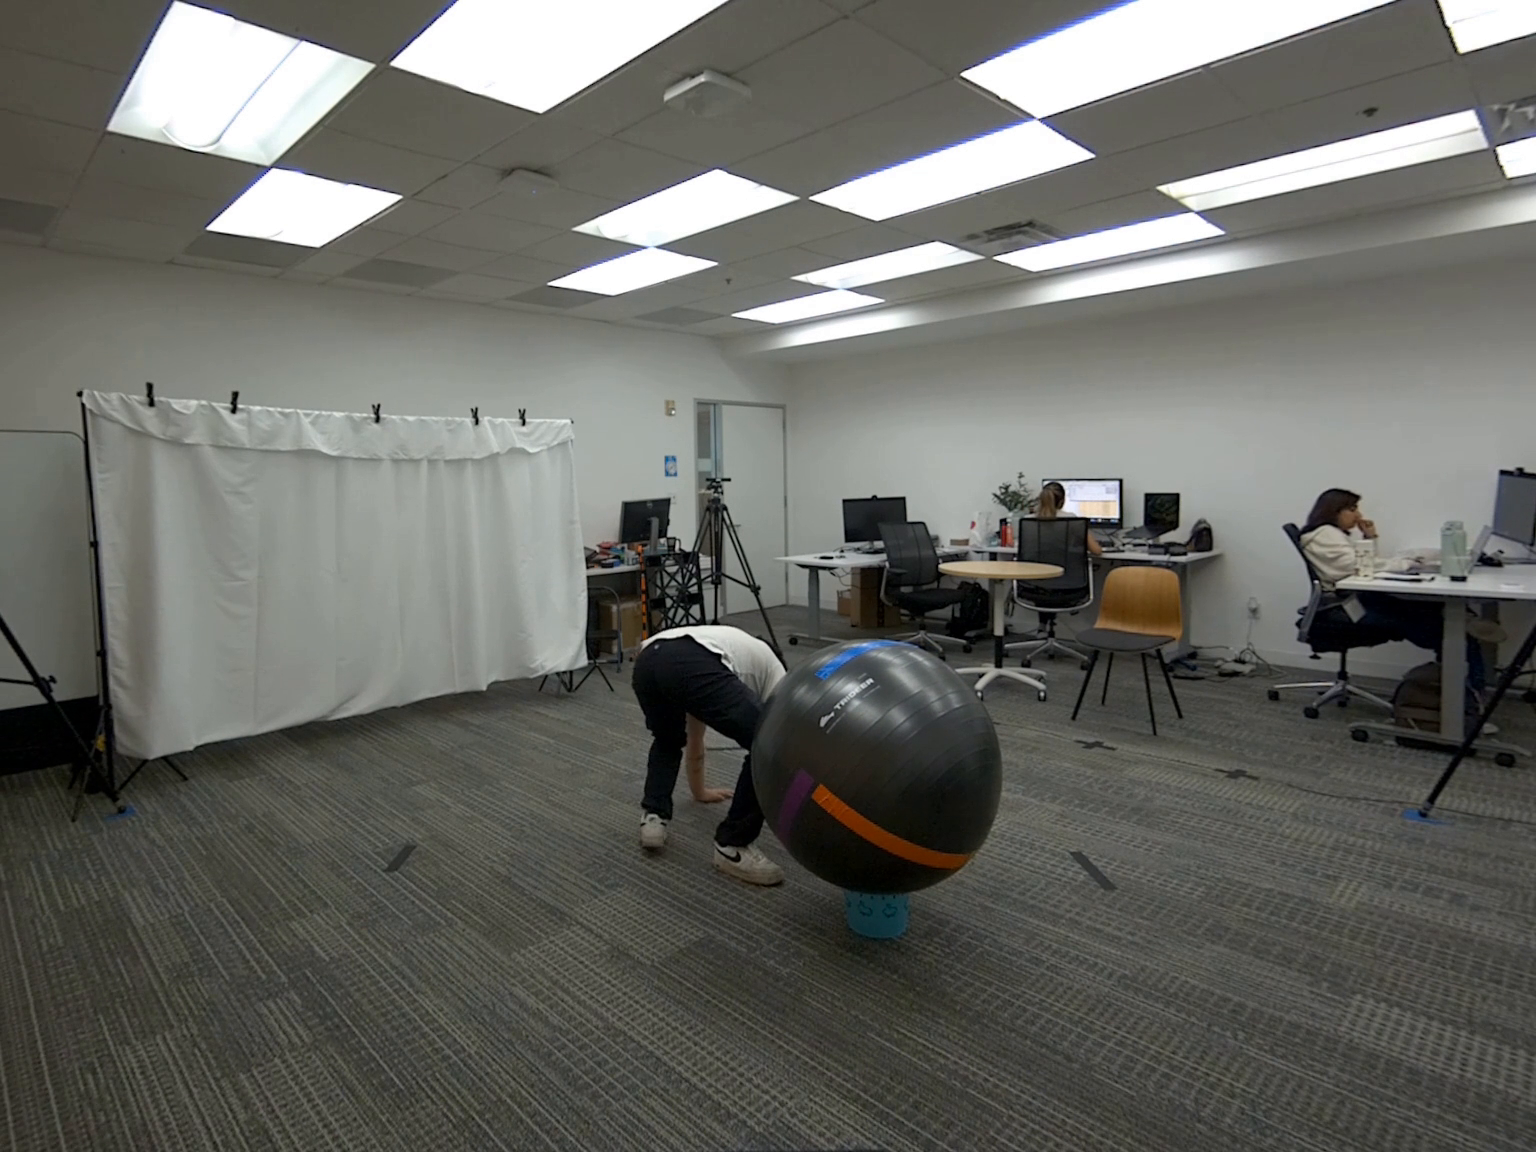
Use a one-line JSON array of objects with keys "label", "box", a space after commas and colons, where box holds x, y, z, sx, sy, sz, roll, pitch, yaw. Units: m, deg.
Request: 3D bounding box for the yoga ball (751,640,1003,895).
[{"label": "yoga ball", "box": [0.329, 0.580, 2.639, 0.757, 0.755, 0.762, -1, 5, -2]}]
